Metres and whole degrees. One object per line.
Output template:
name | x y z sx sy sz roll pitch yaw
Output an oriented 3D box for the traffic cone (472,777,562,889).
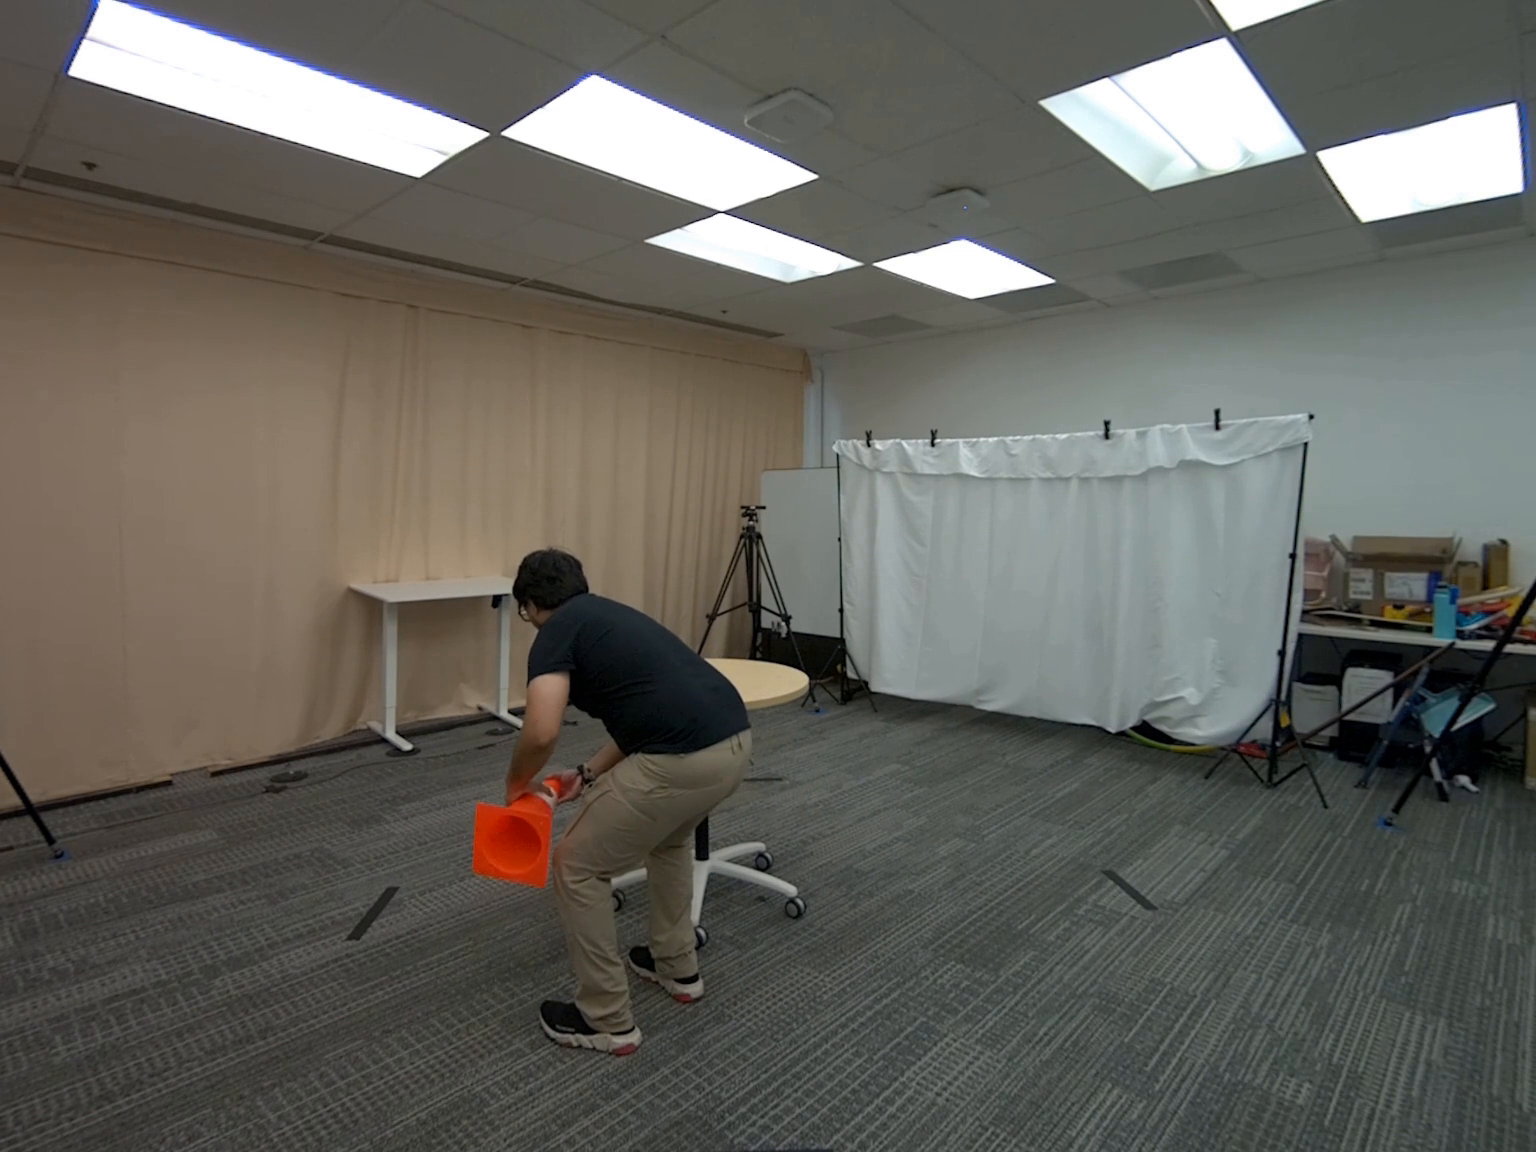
traffic cone | -0.627 0.647 2.303 0.205 0.204 0.383 10 11 5
